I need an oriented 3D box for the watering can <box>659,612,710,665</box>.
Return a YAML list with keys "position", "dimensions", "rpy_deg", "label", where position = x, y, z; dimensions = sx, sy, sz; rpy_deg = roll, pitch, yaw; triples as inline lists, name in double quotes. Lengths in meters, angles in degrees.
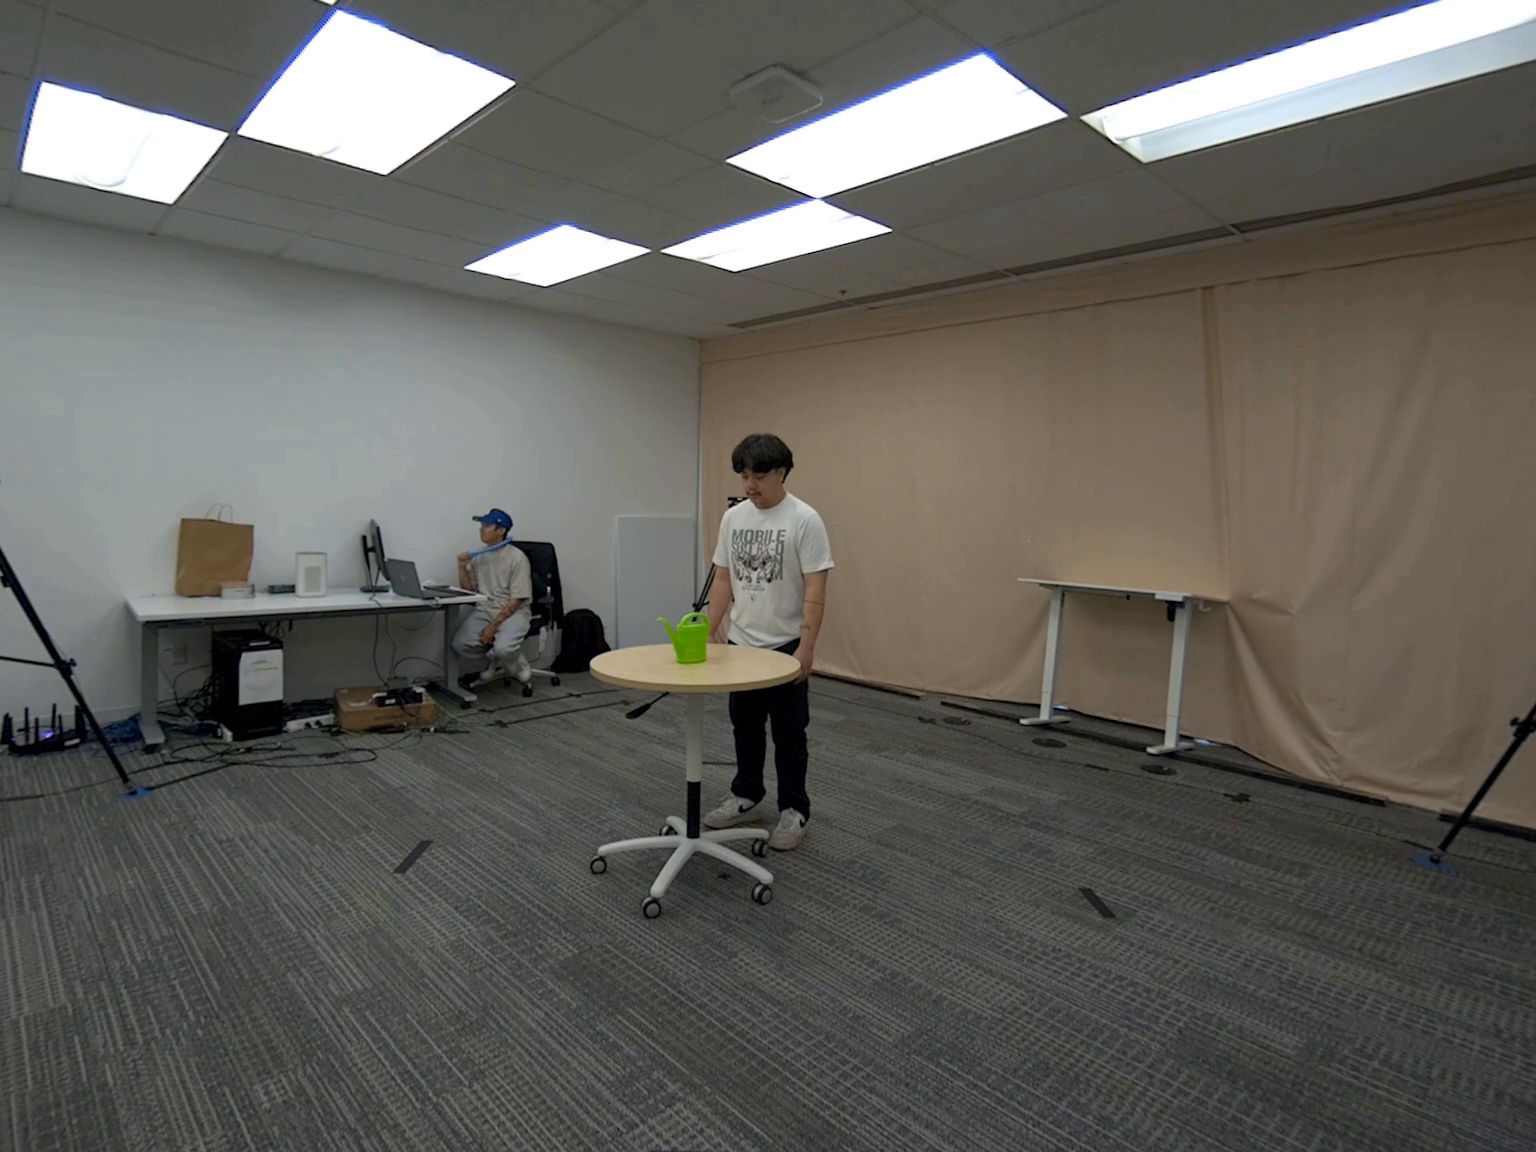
- position: [-0.323, 0.233, 3.051]
  dimensions: [0.100, 0.176, 0.272]
  rpy_deg: [4, 4, 45]
  label: "watering can"
